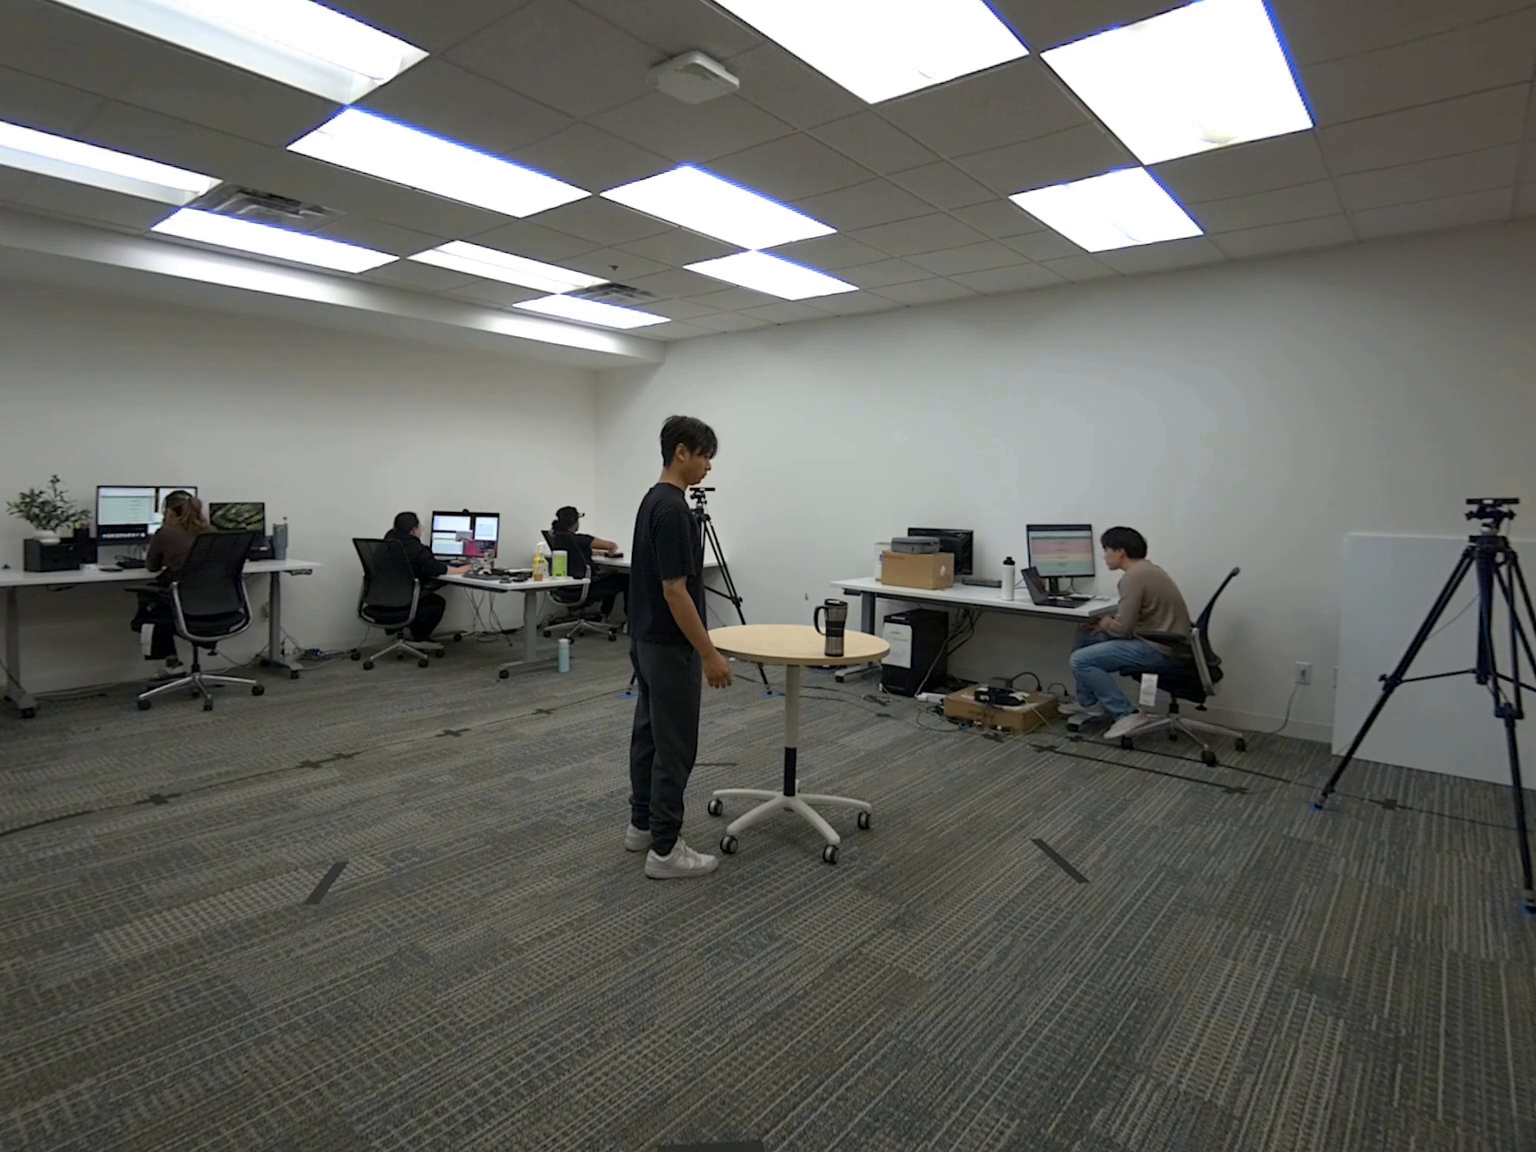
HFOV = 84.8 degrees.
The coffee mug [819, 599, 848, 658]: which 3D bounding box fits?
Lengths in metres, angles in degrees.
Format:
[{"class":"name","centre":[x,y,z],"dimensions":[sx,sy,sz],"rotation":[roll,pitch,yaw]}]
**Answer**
[{"class":"coffee mug","centre":[0.223,0.192,3.149],"dimensions":[0.126,0.201,0.085],"rotation":[7,9,35]}]
